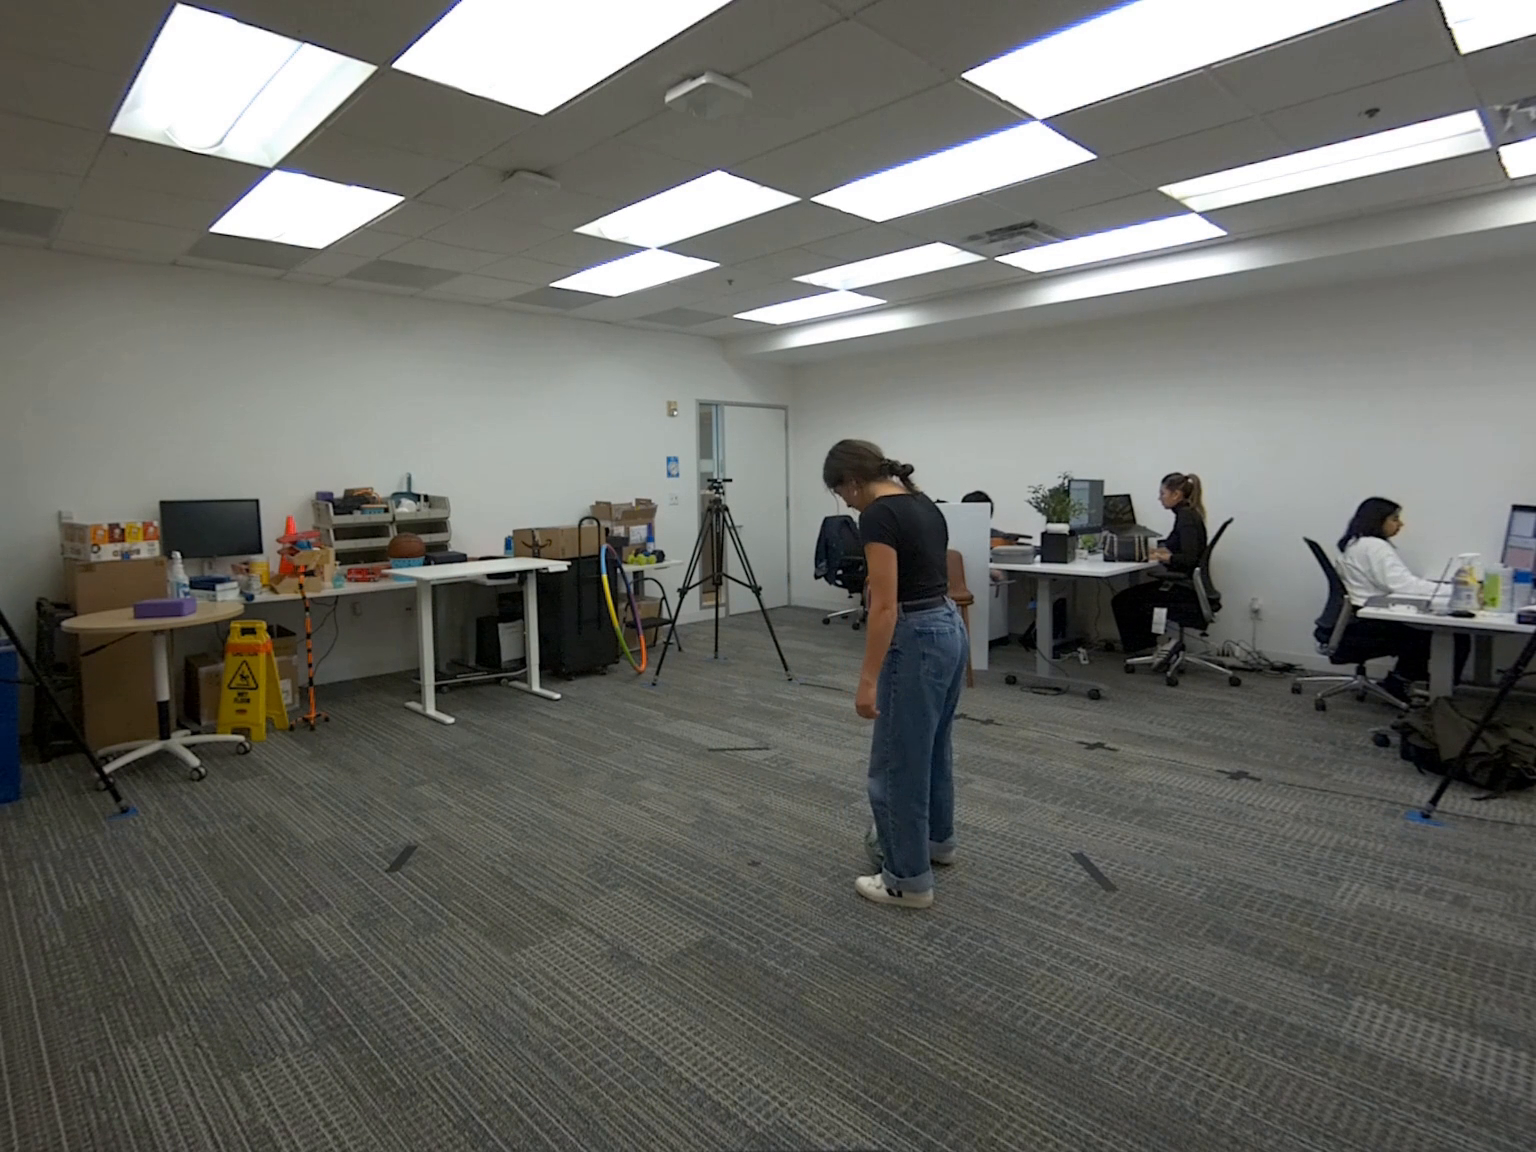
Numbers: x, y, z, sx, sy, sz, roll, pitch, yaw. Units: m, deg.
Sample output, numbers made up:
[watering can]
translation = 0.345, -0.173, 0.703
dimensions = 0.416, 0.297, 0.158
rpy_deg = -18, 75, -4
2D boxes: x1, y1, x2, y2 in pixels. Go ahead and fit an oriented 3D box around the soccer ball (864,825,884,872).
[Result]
[soccer ball]
translation = 0.452, 0.956, 3.050
dimensions = 0.187, 0.187, 0.188
rpy_deg = -1, 5, -2
